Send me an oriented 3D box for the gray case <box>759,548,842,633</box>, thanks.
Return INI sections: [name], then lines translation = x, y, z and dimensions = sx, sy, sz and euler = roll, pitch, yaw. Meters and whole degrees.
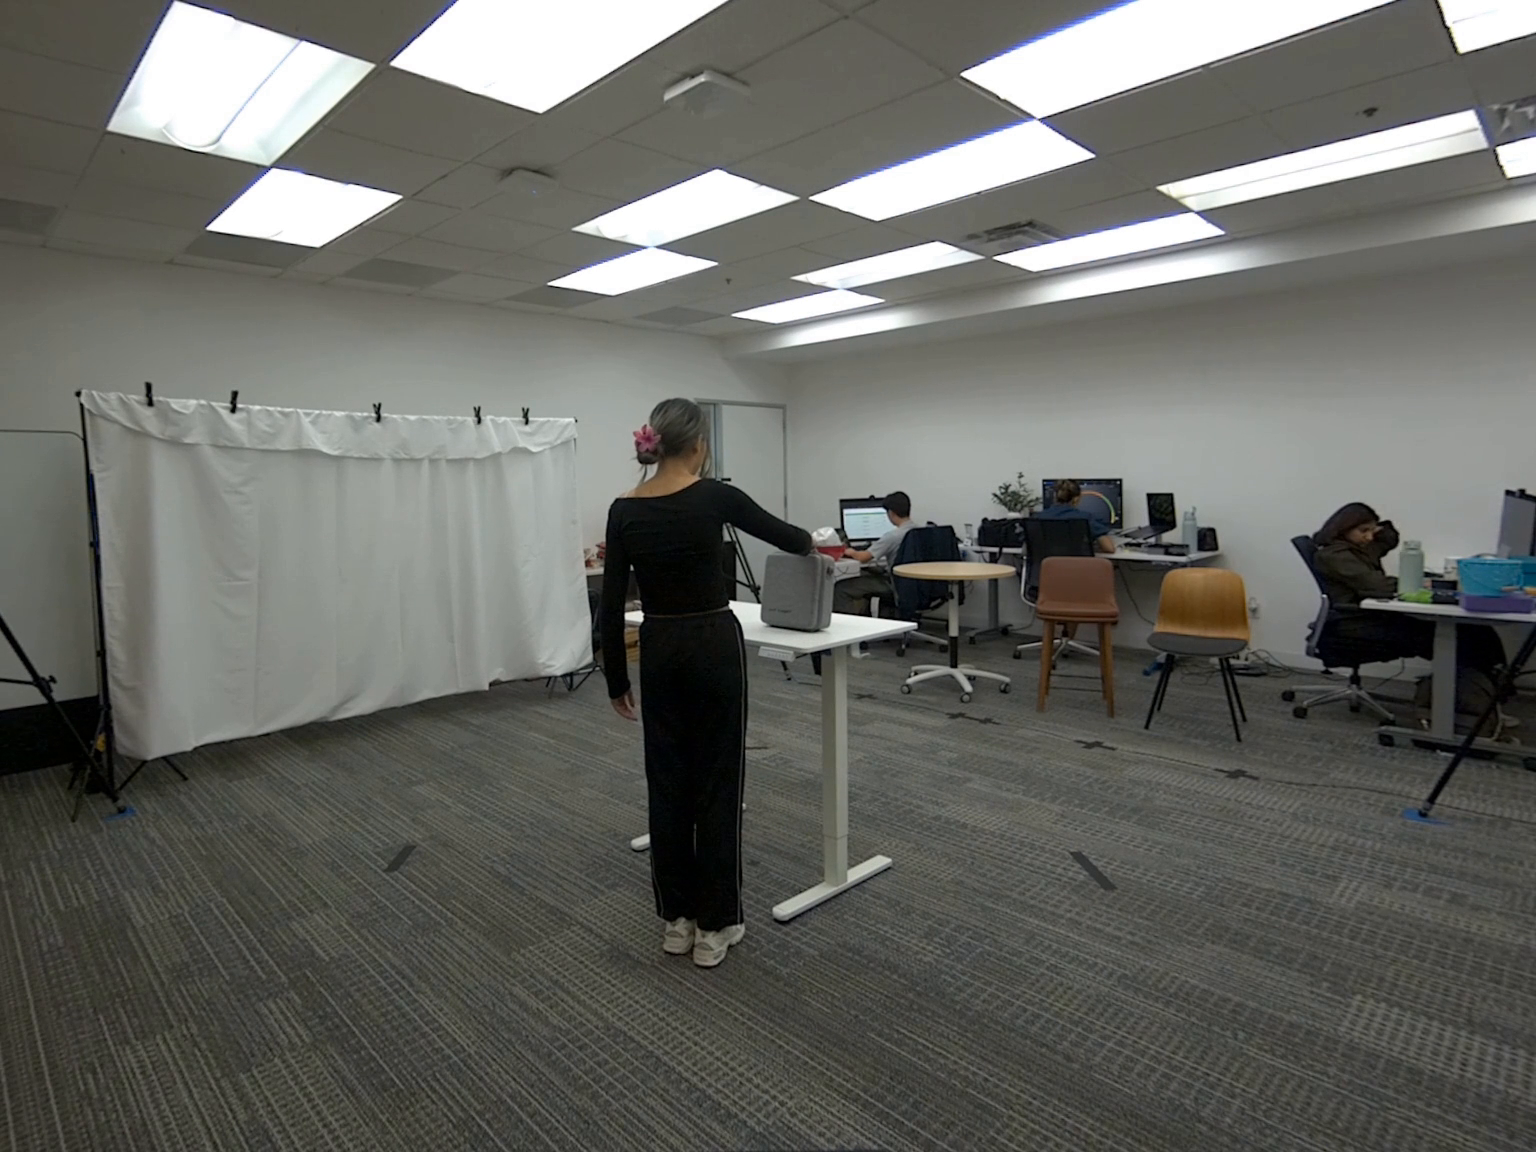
[gray case]
translation = 0.105, 0.045, 2.908
dimensions = 0.101, 0.261, 0.265
euler = 8, -3, -41
